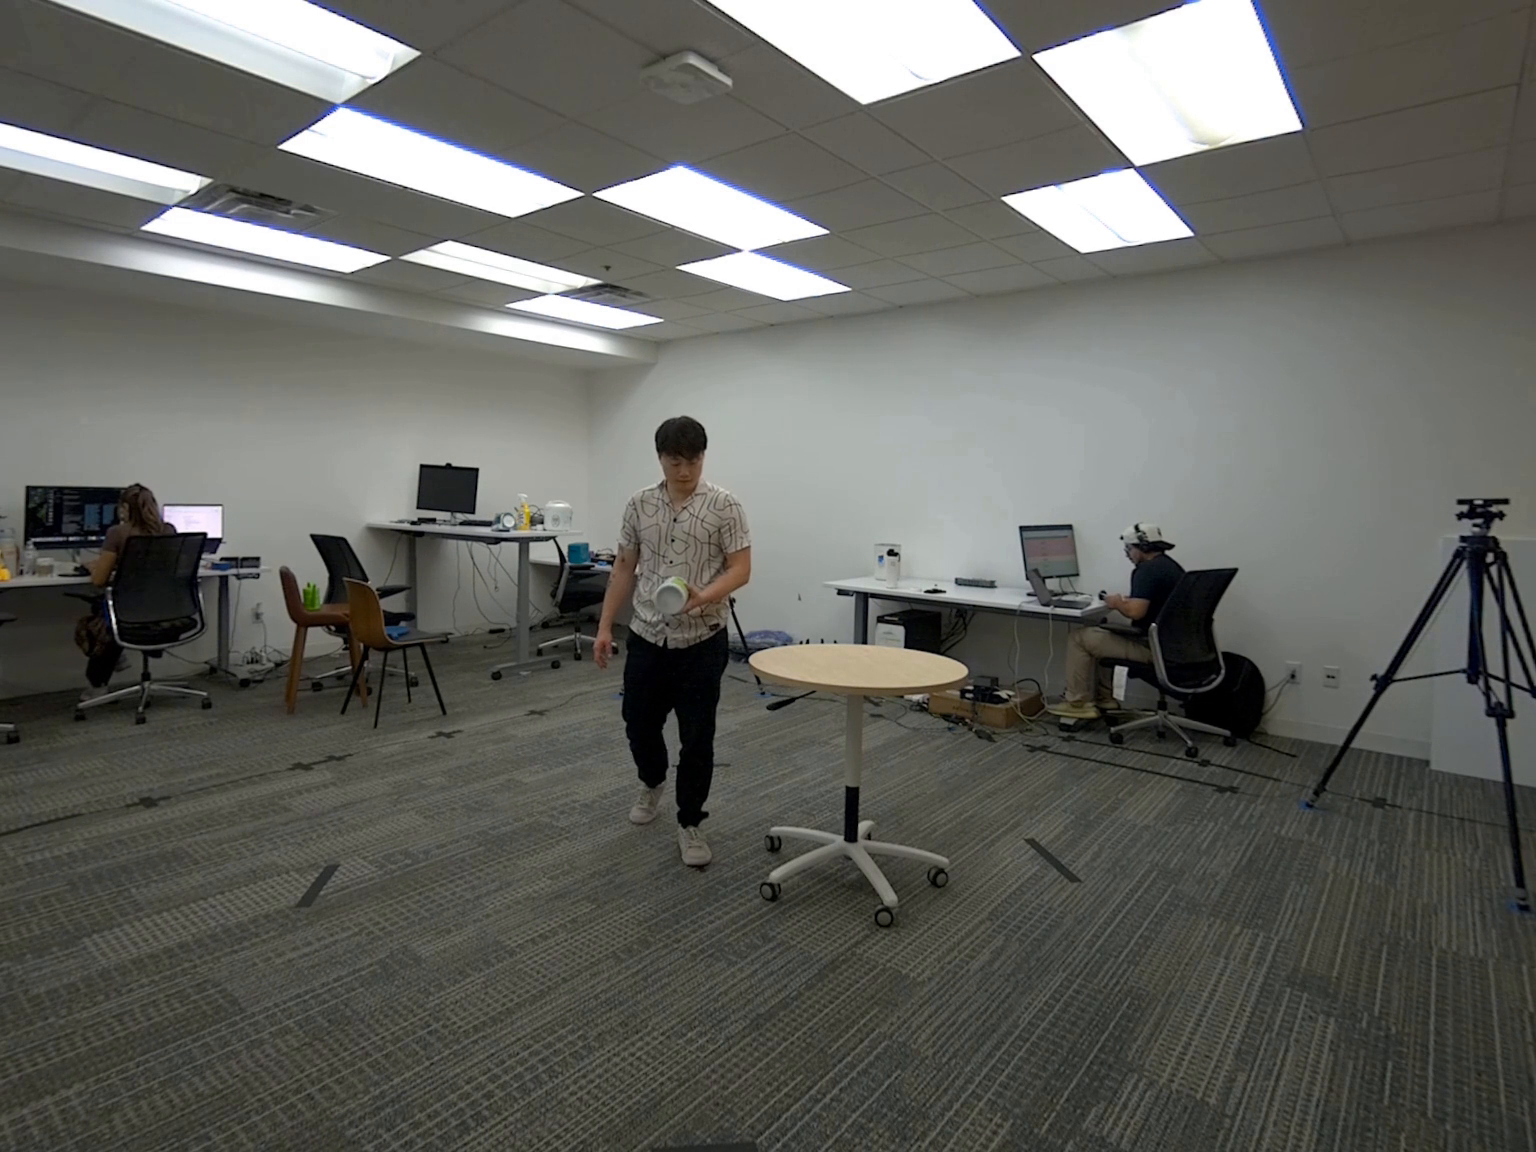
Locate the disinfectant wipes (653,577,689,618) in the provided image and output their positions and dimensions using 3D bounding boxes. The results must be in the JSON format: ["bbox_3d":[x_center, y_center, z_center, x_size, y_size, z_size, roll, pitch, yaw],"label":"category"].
[{"bbox_3d":[-0.349,0.069,2.992,0.118,0.117,0.219,1,6,-2],"label":"disinfectant wipes"}]
